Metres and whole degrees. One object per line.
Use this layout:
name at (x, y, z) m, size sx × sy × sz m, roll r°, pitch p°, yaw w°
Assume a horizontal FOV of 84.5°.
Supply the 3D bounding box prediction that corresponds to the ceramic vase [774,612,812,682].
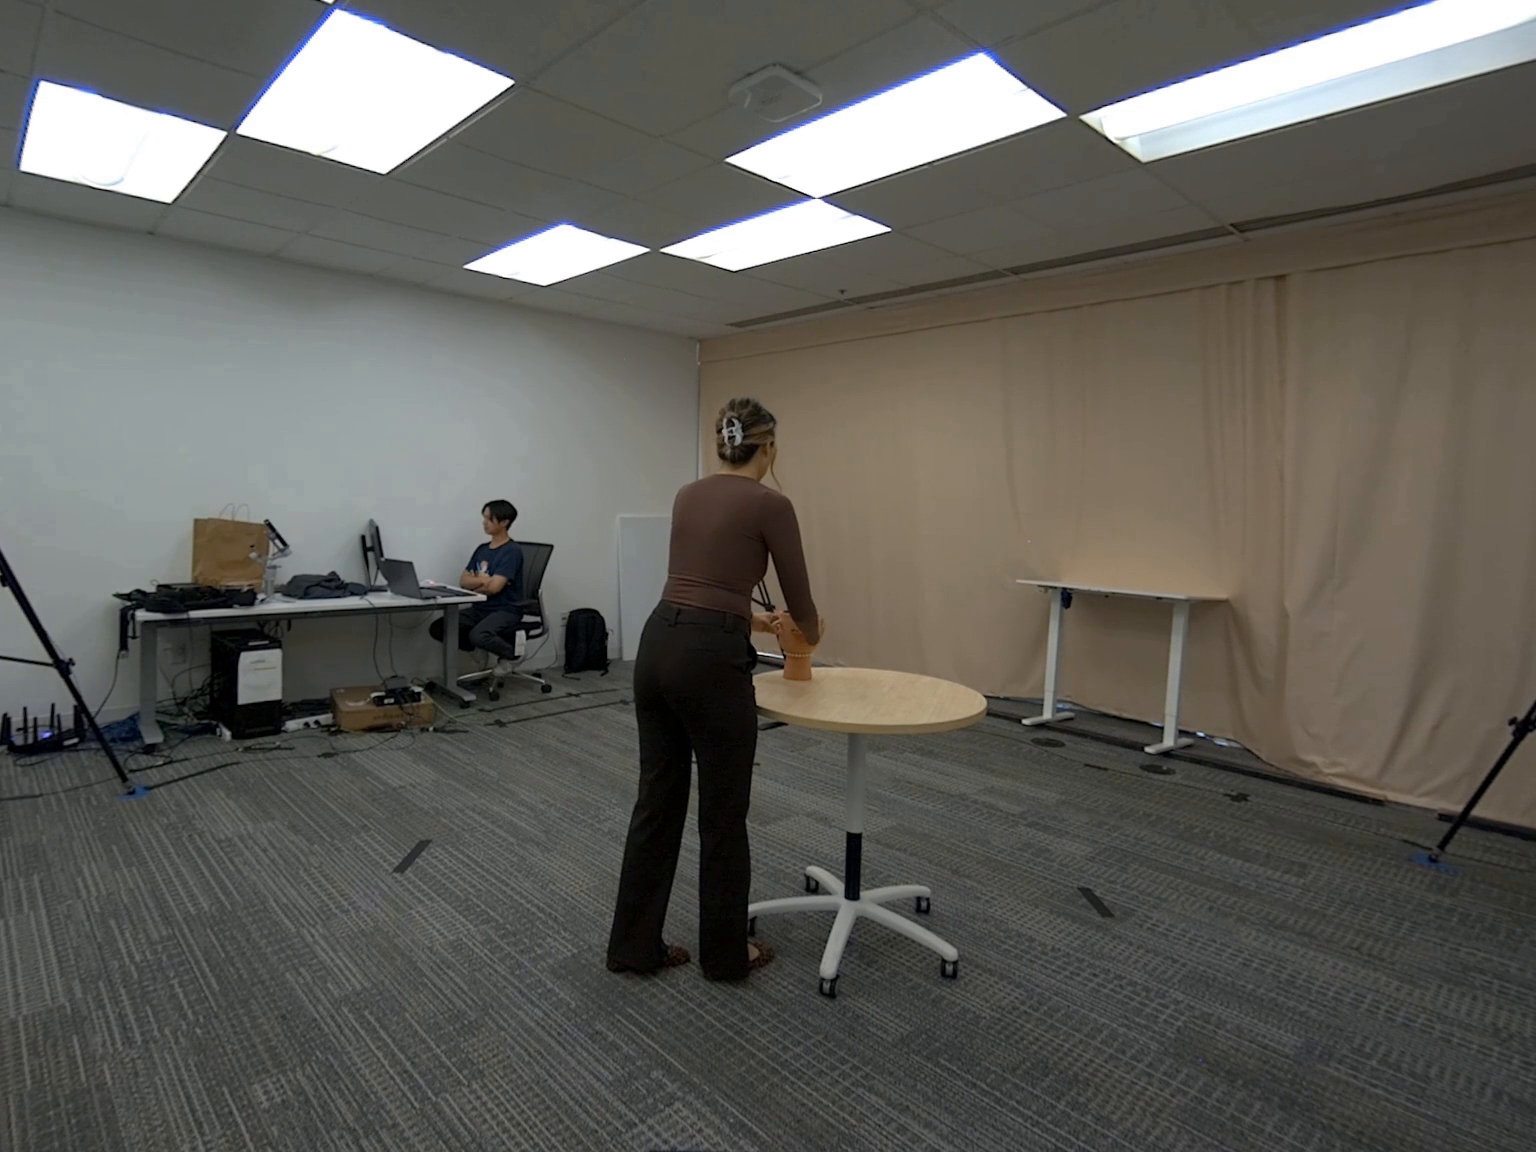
ceramic vase at (0.097, 0.234, 2.808) m, size 0.161 × 0.219 × 0.133 m, roll 0°, pitch 3°, yaw 16°
